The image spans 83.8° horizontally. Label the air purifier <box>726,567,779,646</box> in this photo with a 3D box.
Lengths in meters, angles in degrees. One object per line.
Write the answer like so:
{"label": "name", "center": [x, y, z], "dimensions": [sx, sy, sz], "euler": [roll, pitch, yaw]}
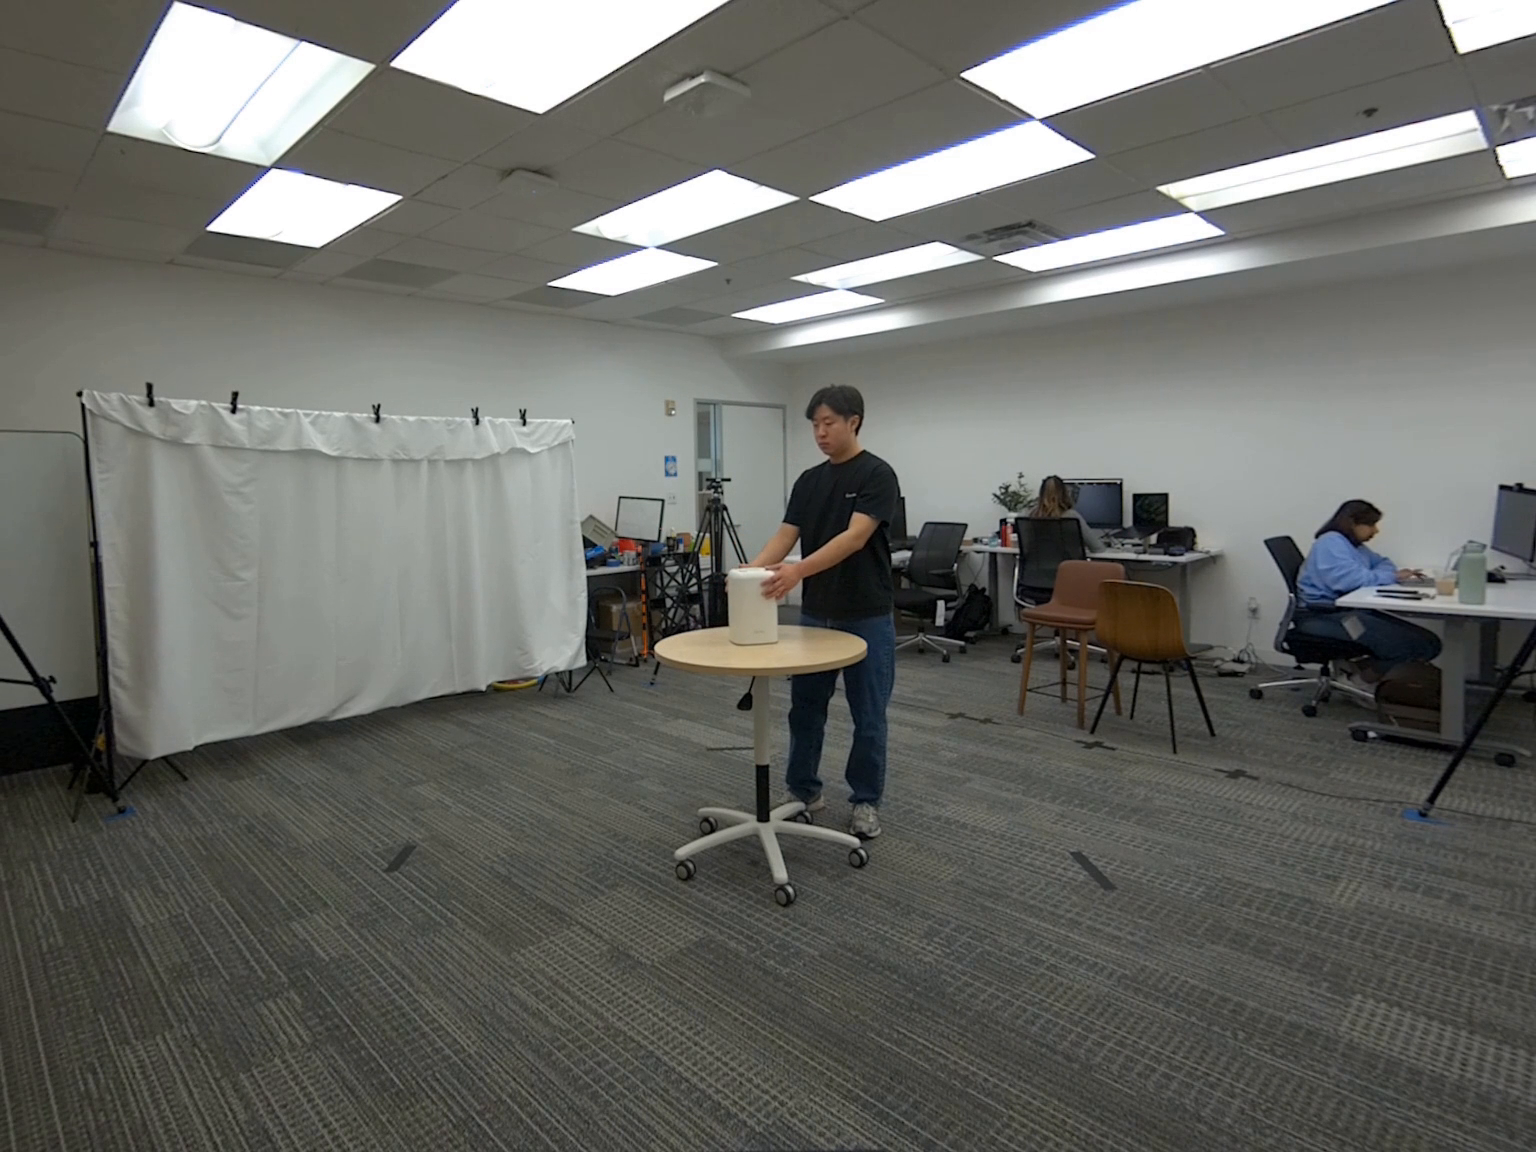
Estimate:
{"label": "air purifier", "center": [-0.057, 0.110, 3.154], "dimensions": [0.170, 0.265, 0.173], "euler": [-2, 2, -7]}
